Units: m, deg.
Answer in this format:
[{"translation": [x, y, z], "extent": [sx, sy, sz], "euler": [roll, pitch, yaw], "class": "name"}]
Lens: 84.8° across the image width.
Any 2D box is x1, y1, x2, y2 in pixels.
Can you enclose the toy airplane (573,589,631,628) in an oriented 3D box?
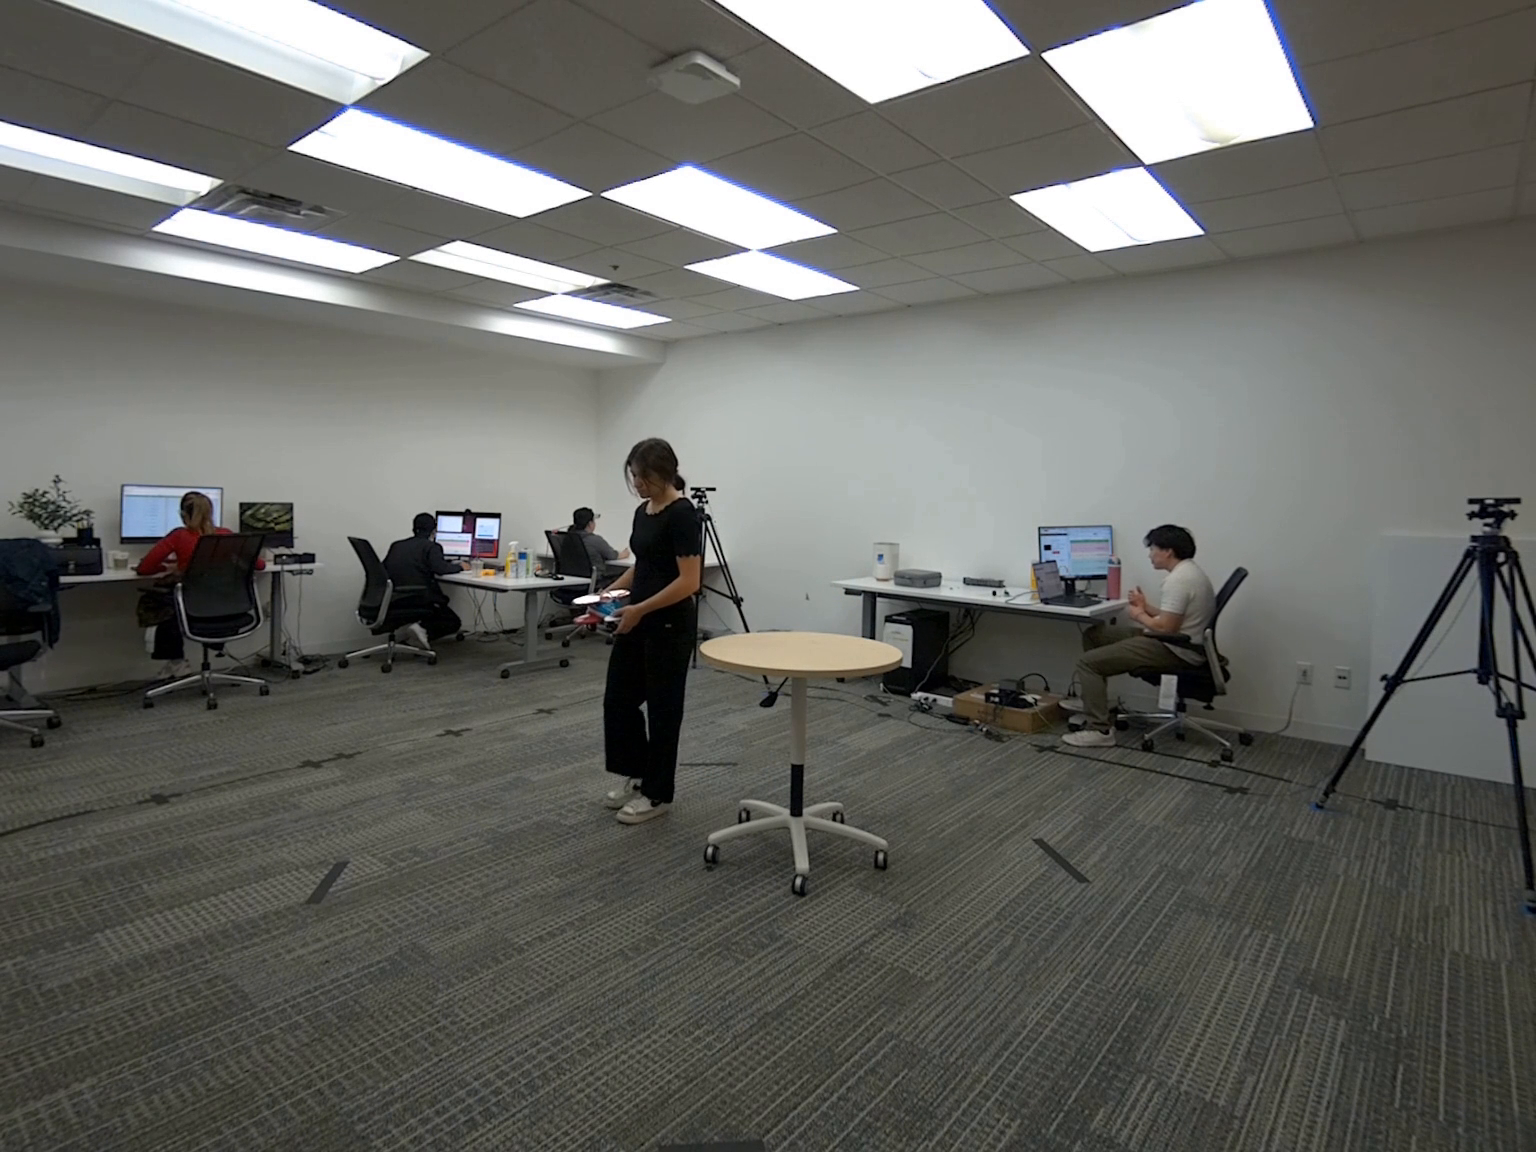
[{"translation": [-0.667, 0.141, 3.510], "extent": [0.265, 0.156, 0.246], "euler": [-8, 3, 28], "class": "toy airplane"}]
